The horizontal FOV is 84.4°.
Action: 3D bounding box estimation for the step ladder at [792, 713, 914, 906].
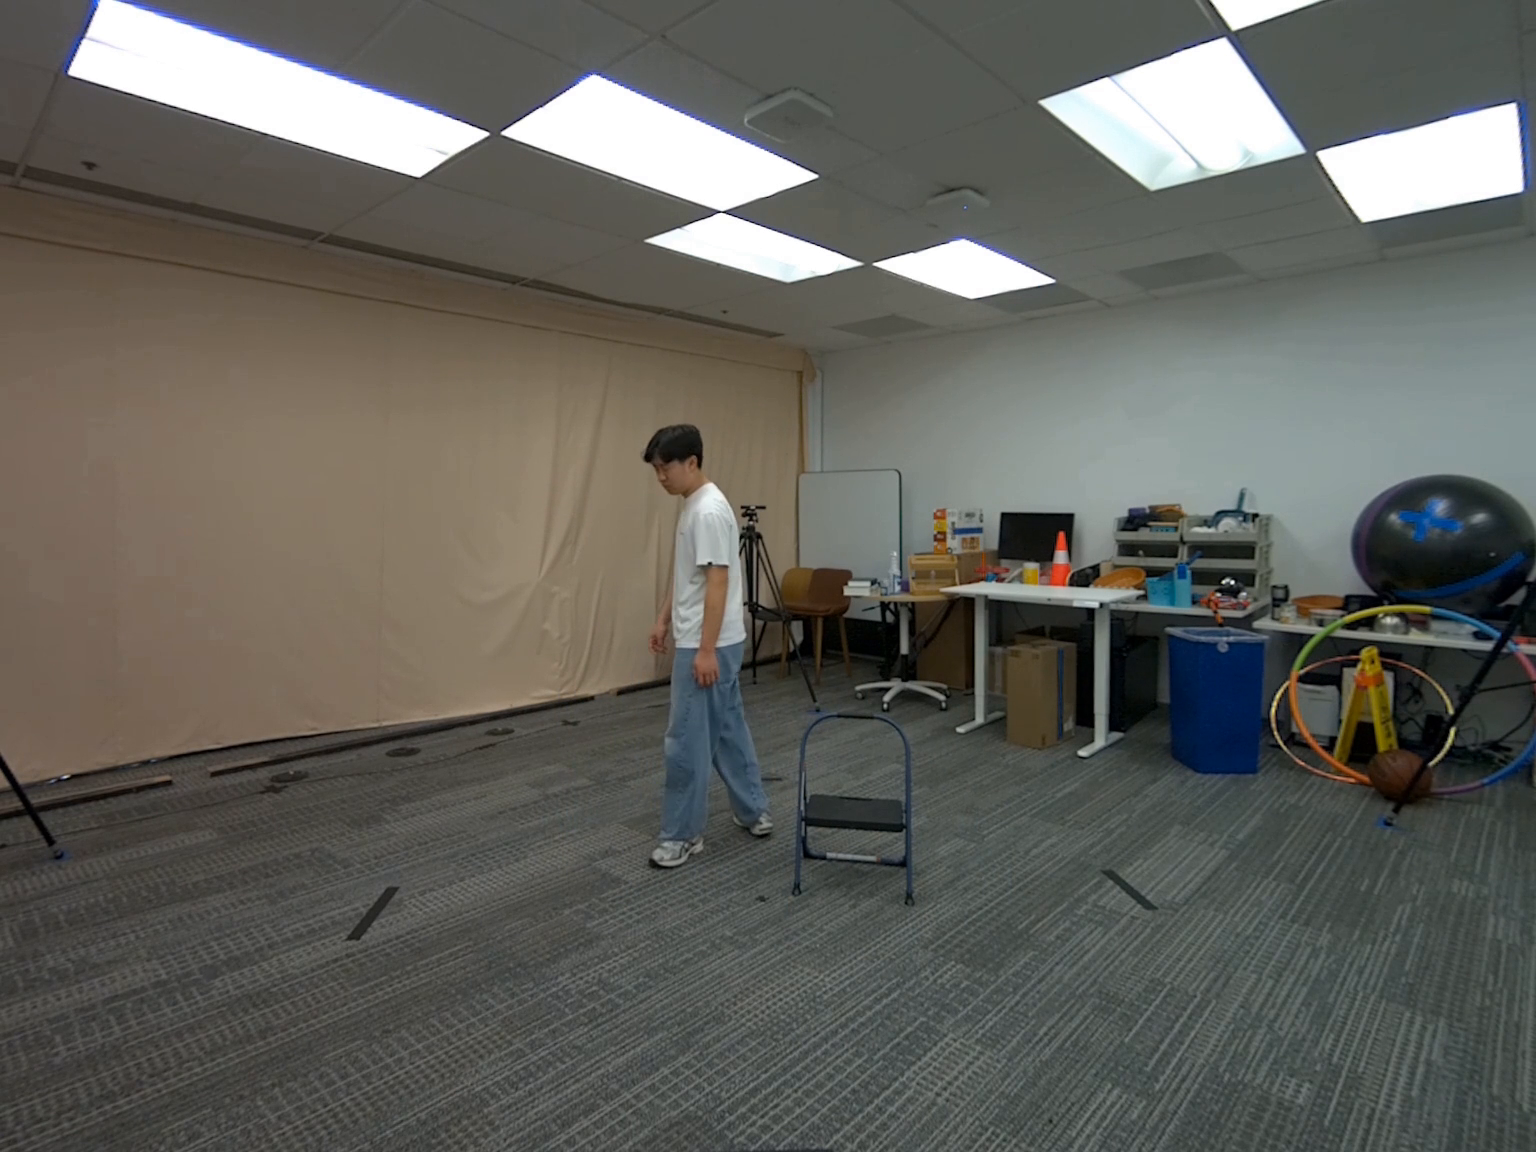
[{"bbox_3d":[0.329,0.827,3.124,0.435,0.605,0.346,1,3,10],"label":"step ladder"}]
